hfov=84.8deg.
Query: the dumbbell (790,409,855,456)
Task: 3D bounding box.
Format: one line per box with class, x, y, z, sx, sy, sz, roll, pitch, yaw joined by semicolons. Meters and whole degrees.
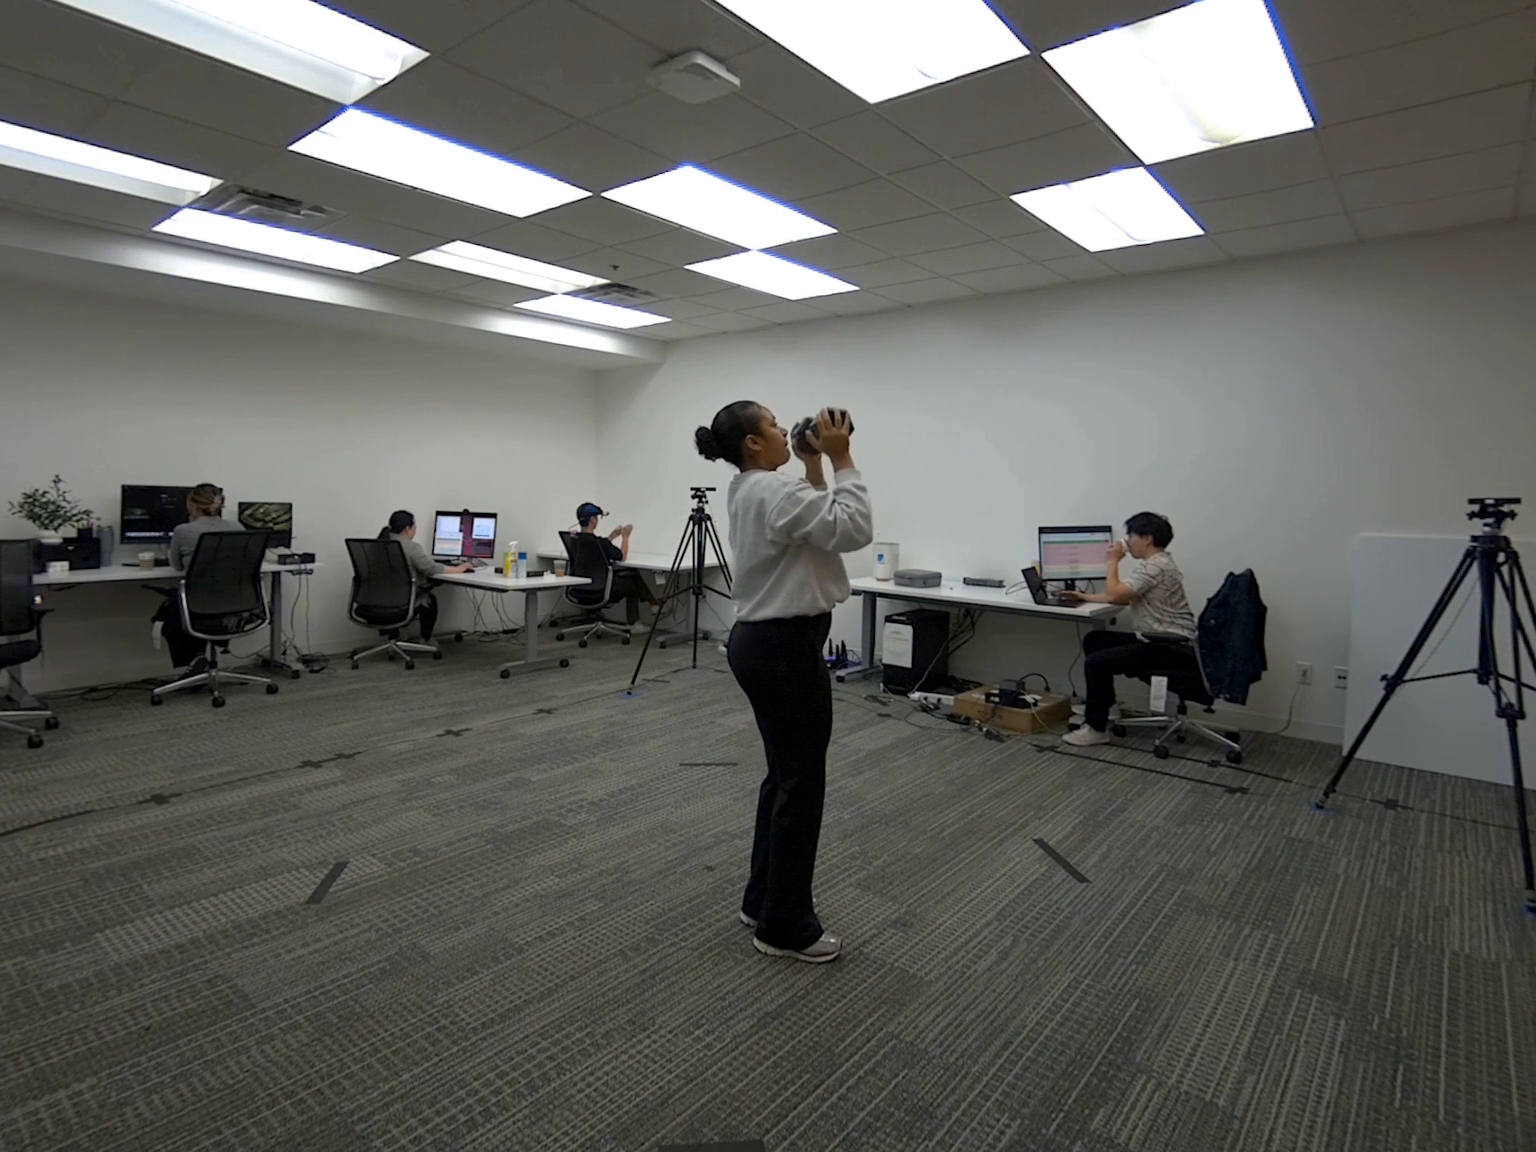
dumbbell;0.145;-0.465;2.600;0.107;0.123;0.297;38;-2;-10
